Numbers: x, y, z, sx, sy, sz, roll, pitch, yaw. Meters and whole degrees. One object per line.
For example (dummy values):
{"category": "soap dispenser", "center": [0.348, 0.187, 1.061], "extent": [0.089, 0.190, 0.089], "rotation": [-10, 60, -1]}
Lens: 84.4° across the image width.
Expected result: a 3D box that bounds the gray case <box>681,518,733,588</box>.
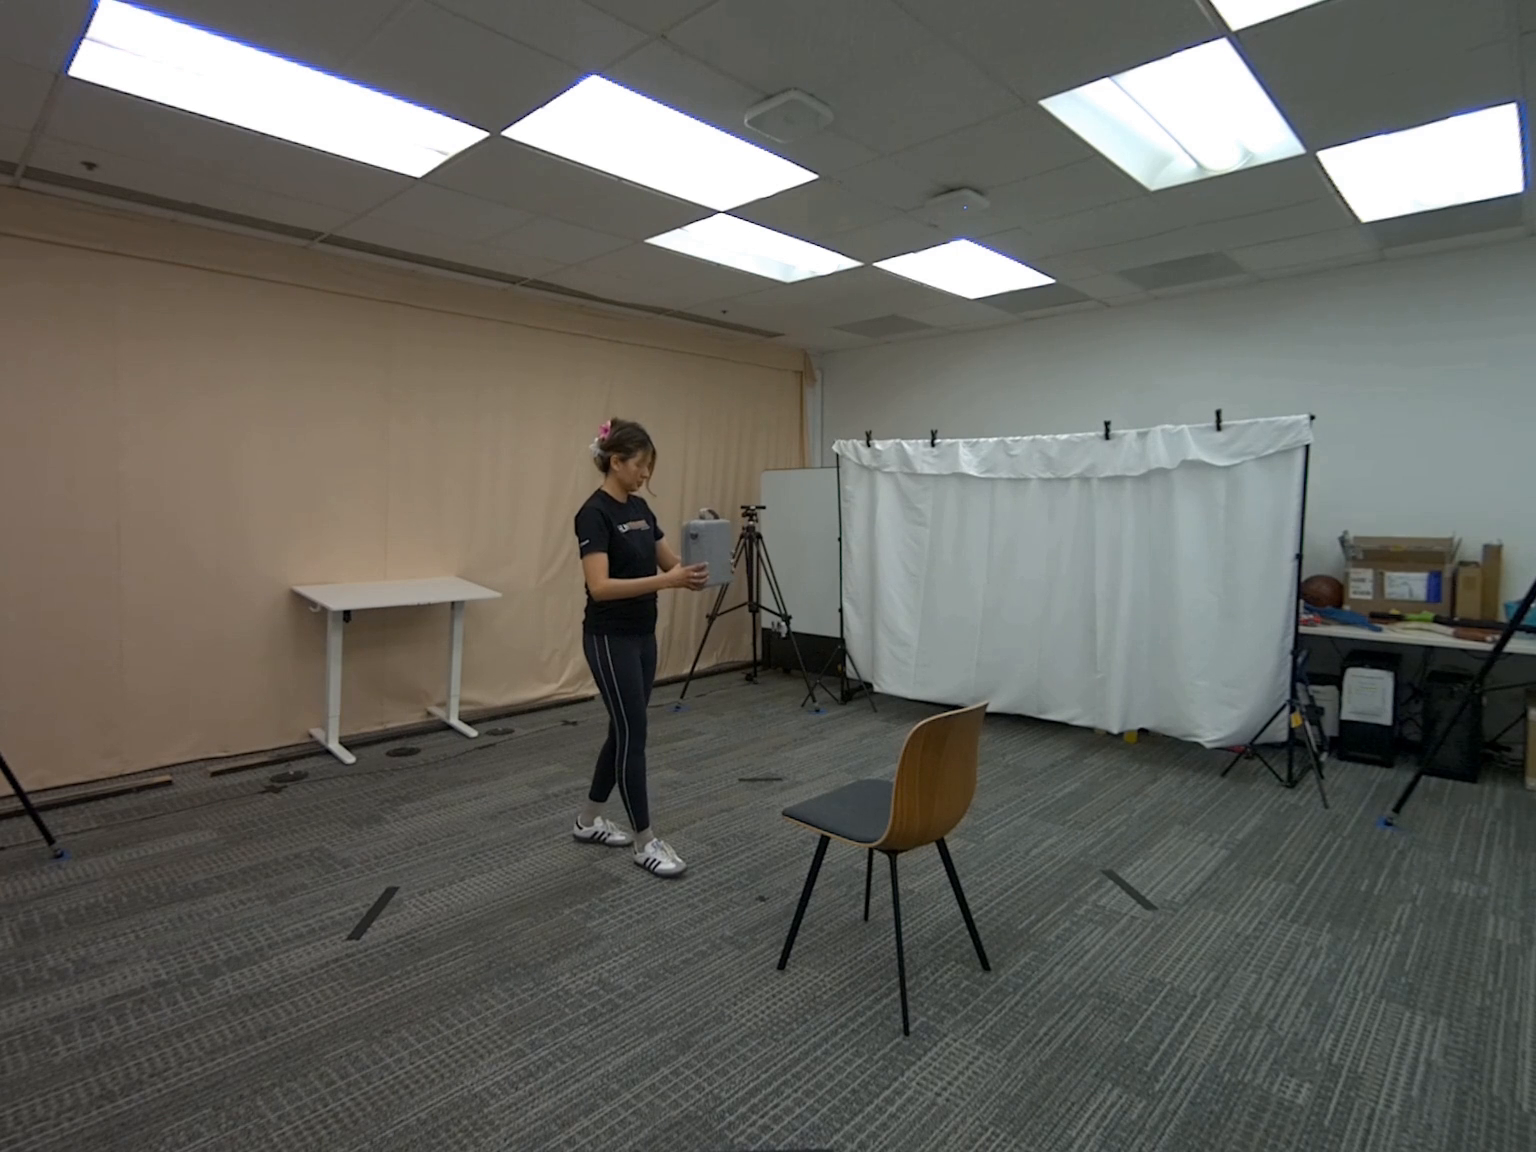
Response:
{"category": "gray case", "center": [-0.223, -0.089, 3.147], "extent": [0.107, 0.260, 0.251], "rotation": [3, 6, 24]}
